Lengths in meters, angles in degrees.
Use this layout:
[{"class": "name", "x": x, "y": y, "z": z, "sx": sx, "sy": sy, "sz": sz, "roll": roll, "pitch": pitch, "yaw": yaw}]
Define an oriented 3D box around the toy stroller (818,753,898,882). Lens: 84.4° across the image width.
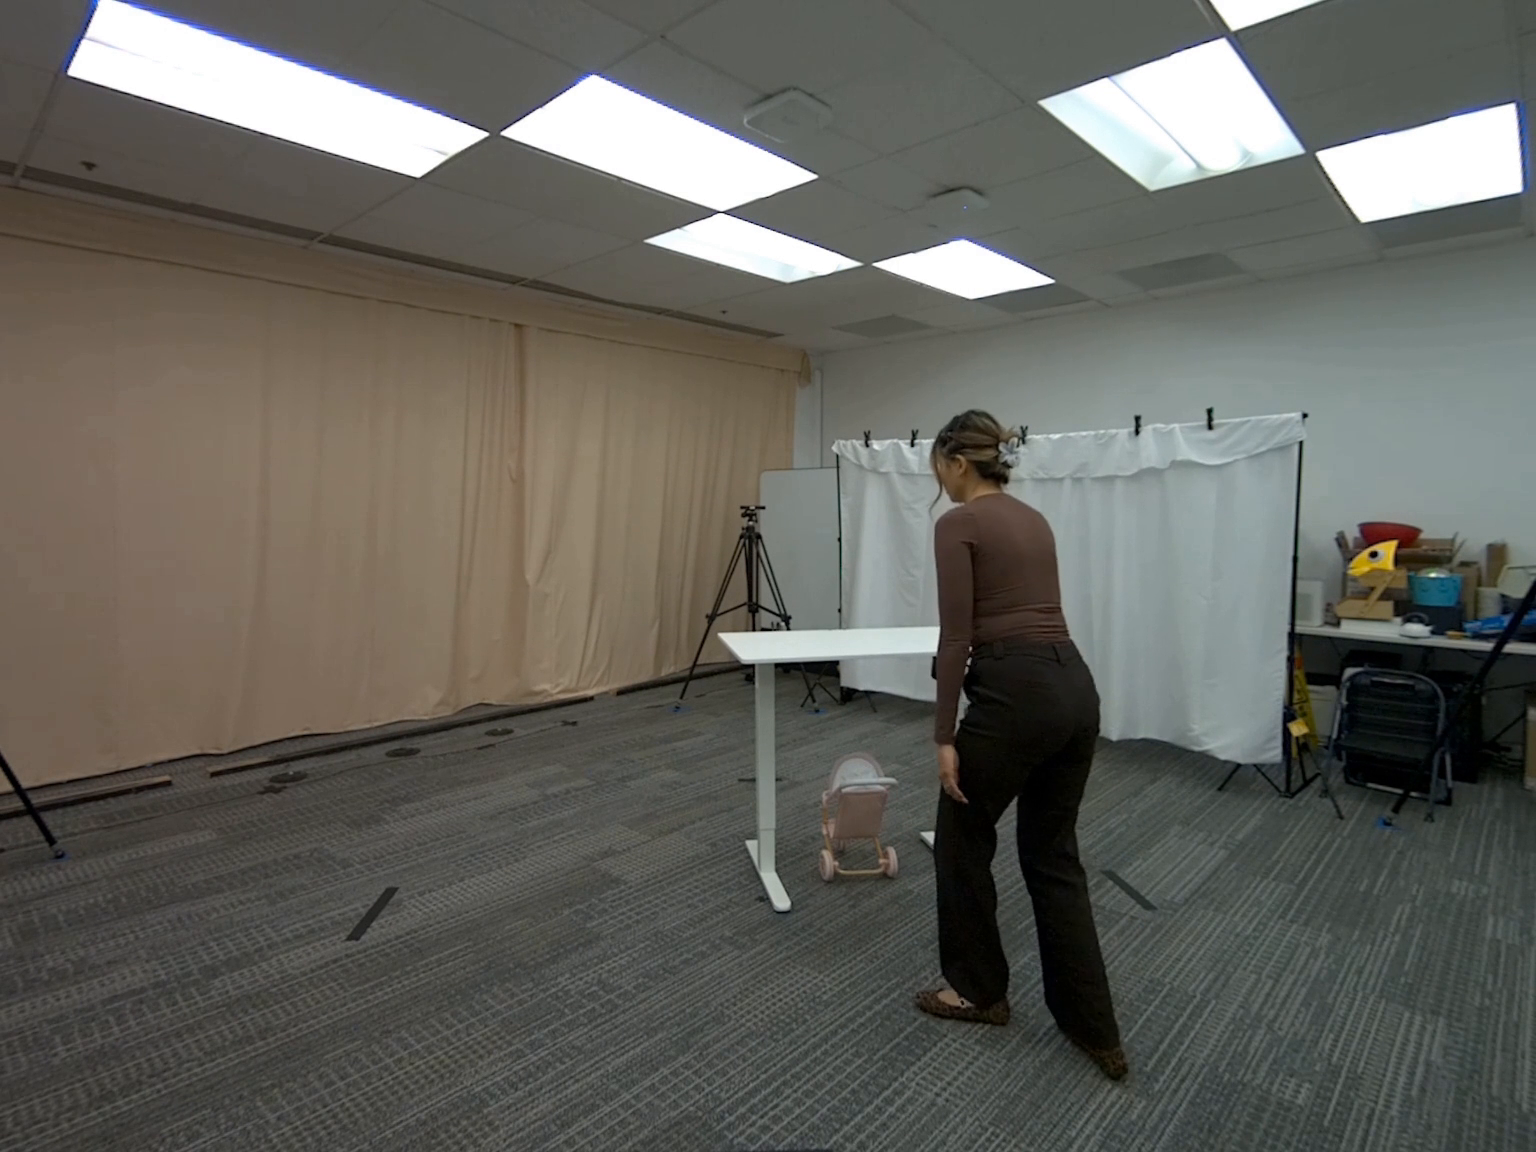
[{"class": "toy stroller", "x": 0.337, "y": 0.899, "z": 3.200, "sx": 0.280, "sy": 0.529, "sz": 0.347, "roll": 0, "pitch": 19, "yaw": -5}]
